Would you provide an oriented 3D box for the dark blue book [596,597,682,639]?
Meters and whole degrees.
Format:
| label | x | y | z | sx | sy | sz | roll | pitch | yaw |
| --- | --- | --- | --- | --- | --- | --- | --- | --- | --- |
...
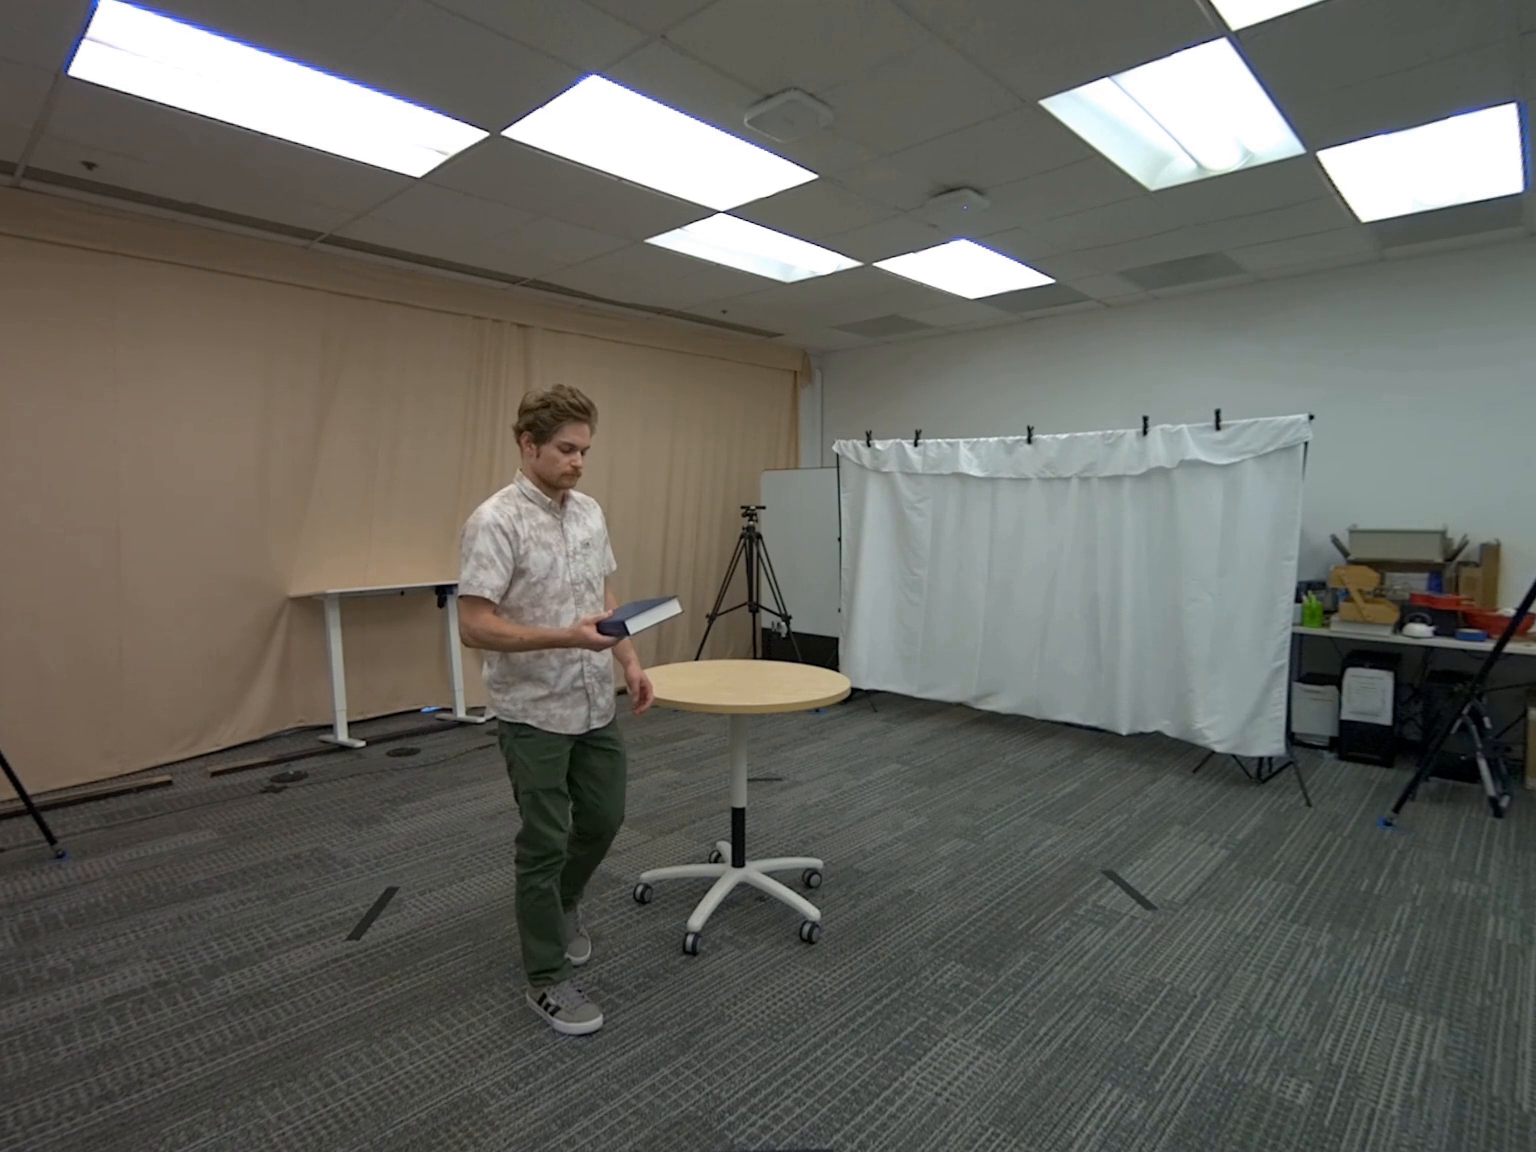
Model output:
| label | x | y | z | sx | sy | sz | roll | pitch | yaw |
| --- | --- | --- | --- | --- | --- | --- | --- | --- | --- |
| dark blue book | -0.350 | 0.106 | 2.088 | 0.160 | 0.045 | 0.251 | -26 | 9 | -36 |
